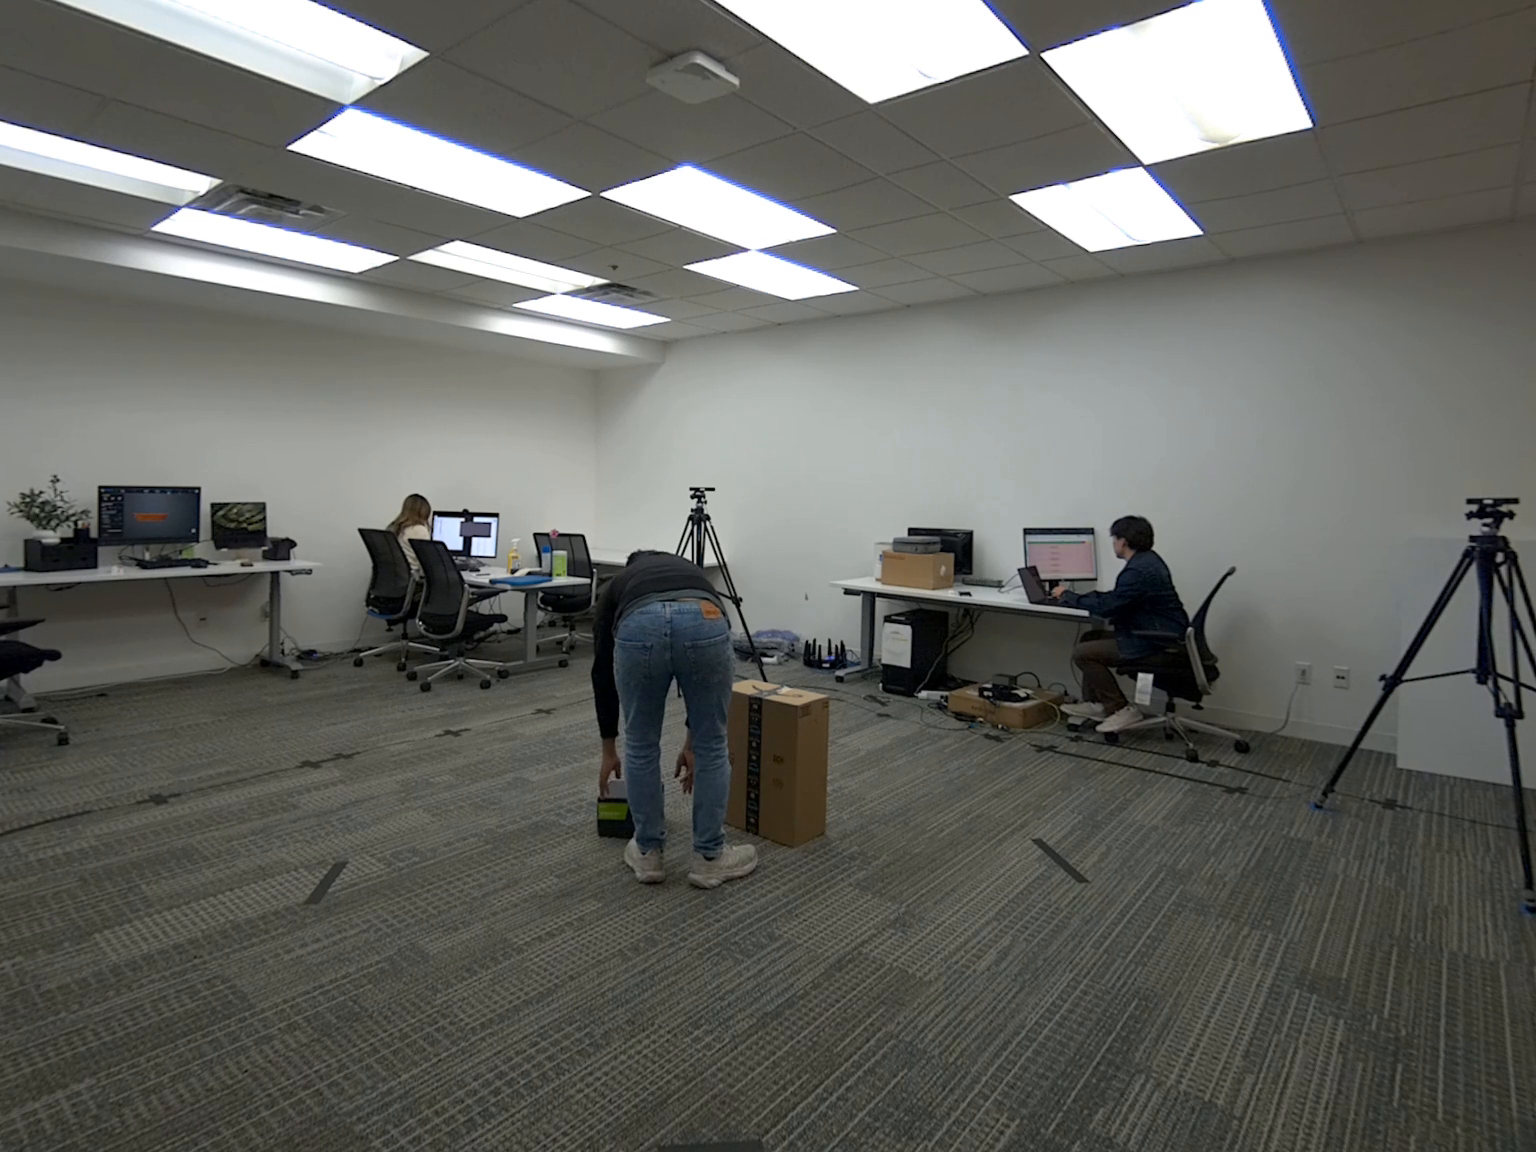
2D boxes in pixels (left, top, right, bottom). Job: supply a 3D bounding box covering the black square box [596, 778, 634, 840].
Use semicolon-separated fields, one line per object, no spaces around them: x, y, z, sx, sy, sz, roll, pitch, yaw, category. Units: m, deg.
-0.564;0.932;3.467;0.229;0.155;0.216;0;5;5;black square box
